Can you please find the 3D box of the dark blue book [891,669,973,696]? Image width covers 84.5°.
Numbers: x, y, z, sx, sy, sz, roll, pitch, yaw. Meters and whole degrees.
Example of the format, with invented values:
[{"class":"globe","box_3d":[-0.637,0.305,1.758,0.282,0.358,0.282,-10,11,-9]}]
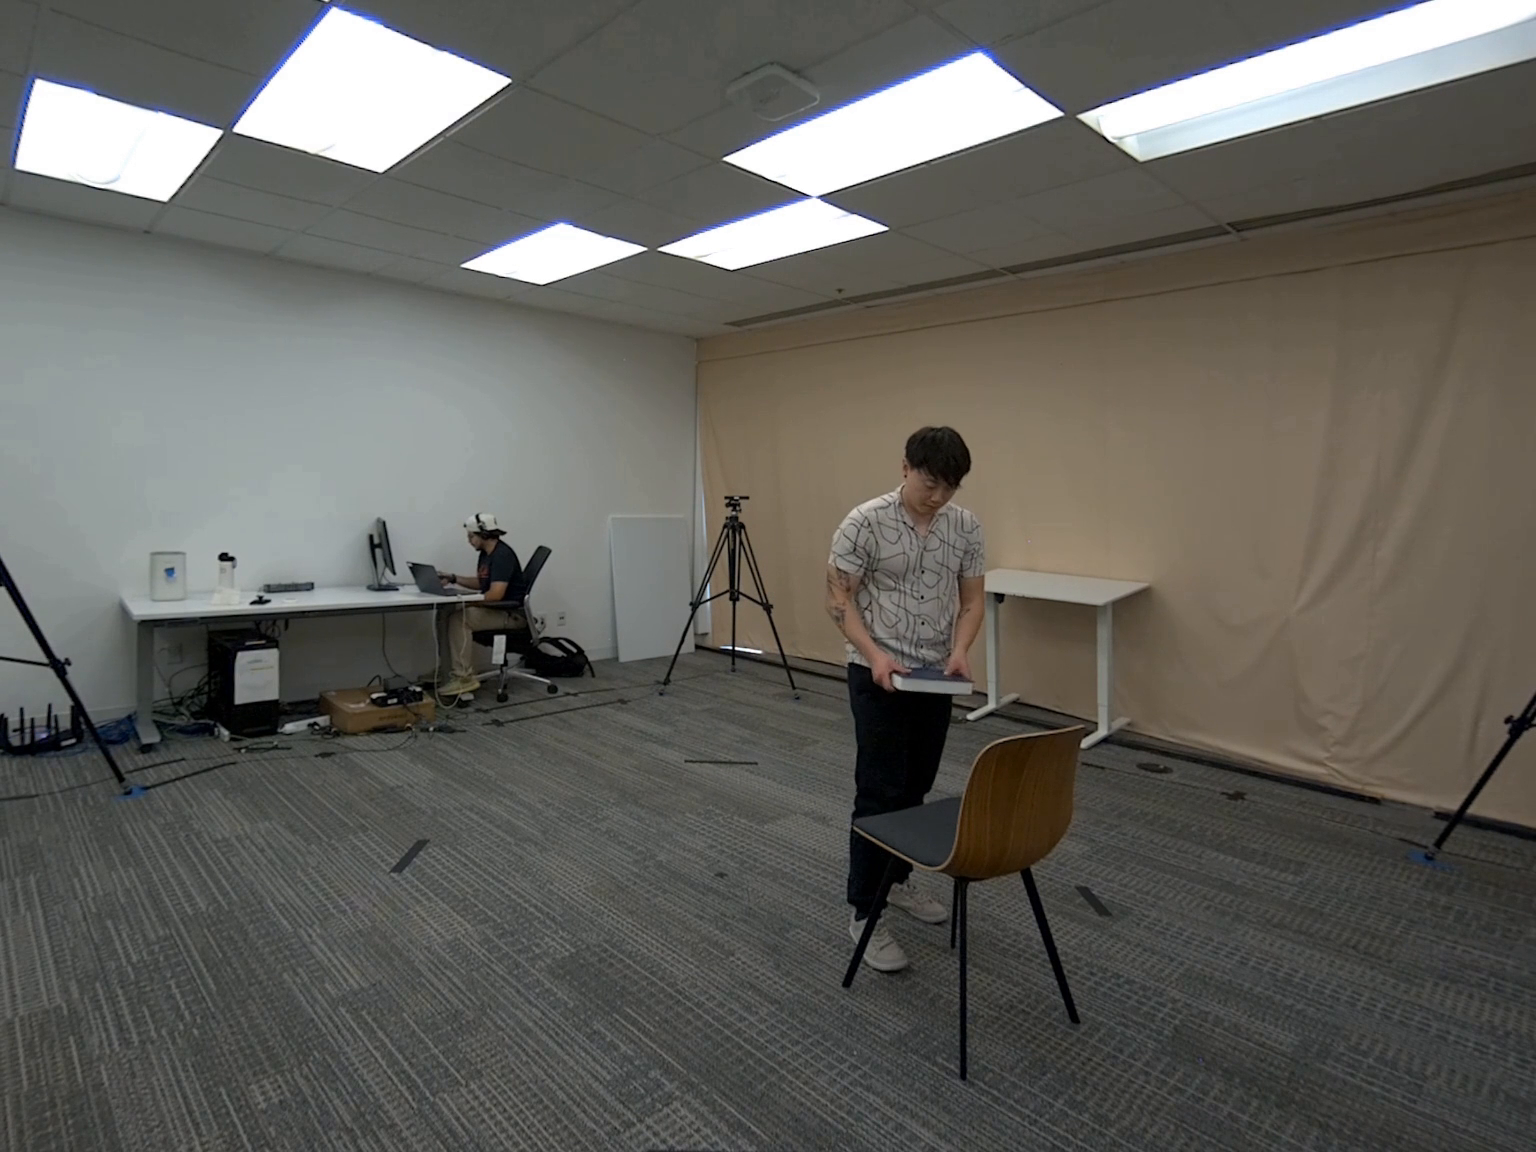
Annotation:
[{"class":"dark blue book","box_3d":[0.461,0.323,2.557,0.243,0.045,0.165,5,6,-9]}]
